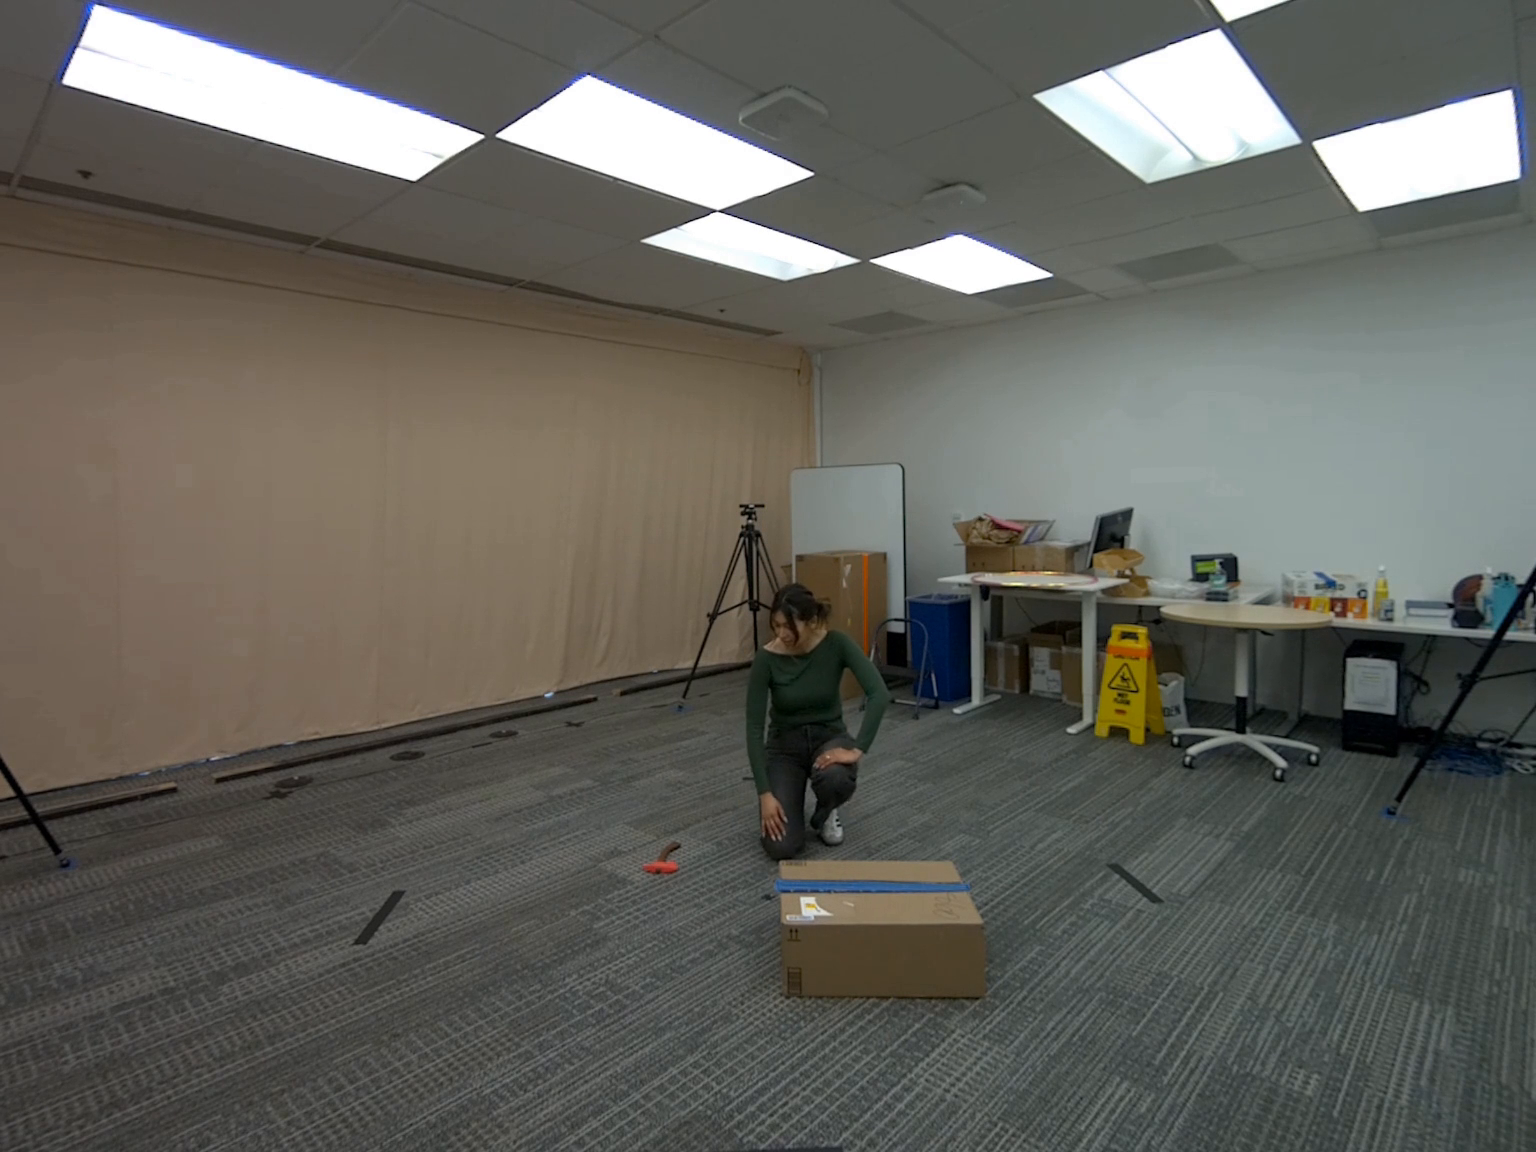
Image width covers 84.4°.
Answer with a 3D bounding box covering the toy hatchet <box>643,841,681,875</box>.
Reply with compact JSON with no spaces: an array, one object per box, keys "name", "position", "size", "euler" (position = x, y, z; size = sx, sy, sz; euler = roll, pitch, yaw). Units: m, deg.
[{"name":"toy hatchet","position":[-0.378,1.110,3.311],"size":[0.134,0.029,0.264],"euler":[0,4,21]}]
